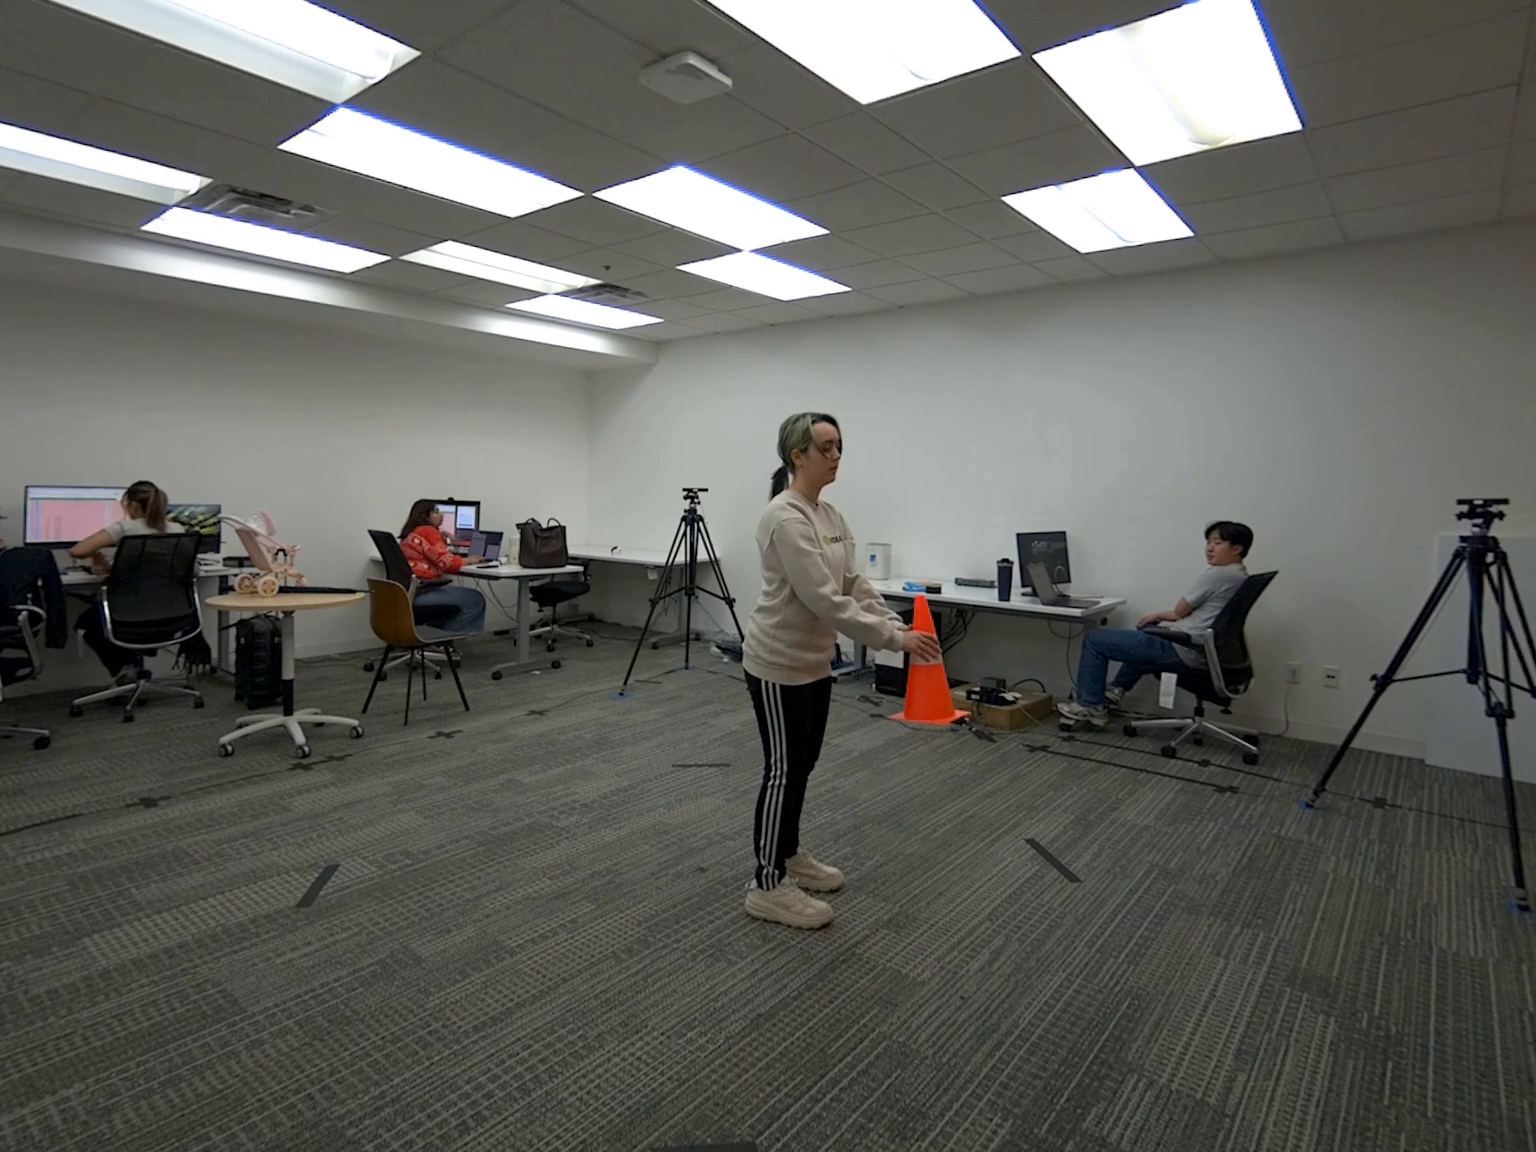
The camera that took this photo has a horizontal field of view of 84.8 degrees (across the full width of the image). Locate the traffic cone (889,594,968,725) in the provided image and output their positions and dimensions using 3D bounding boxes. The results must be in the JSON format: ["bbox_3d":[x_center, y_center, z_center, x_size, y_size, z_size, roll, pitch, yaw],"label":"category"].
[{"bbox_3d":[0.483,0.257,2.674,0.209,0.383,0.199,-5,2,42],"label":"traffic cone"}]
